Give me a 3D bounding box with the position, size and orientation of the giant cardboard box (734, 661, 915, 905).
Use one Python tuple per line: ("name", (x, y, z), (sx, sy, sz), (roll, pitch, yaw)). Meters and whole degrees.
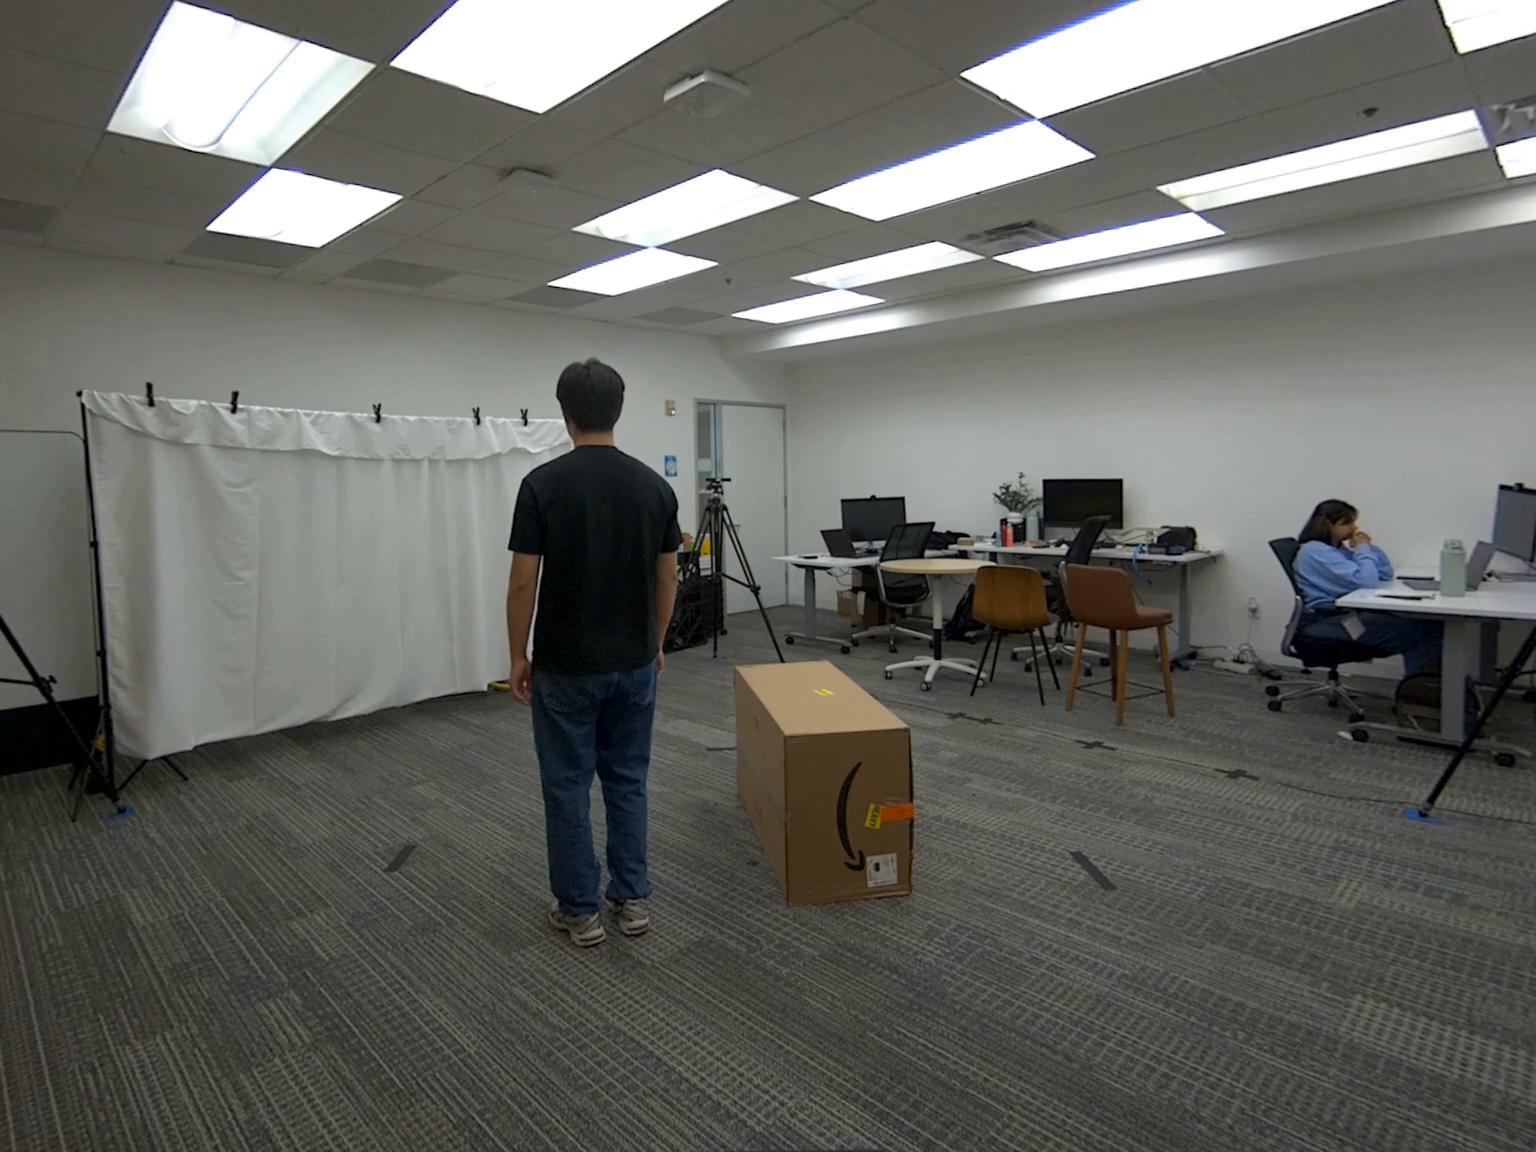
("giant cardboard box", (0.172, 0.728, 3.298), (0.442, 0.581, 1.042), (-1, 6, -11))
